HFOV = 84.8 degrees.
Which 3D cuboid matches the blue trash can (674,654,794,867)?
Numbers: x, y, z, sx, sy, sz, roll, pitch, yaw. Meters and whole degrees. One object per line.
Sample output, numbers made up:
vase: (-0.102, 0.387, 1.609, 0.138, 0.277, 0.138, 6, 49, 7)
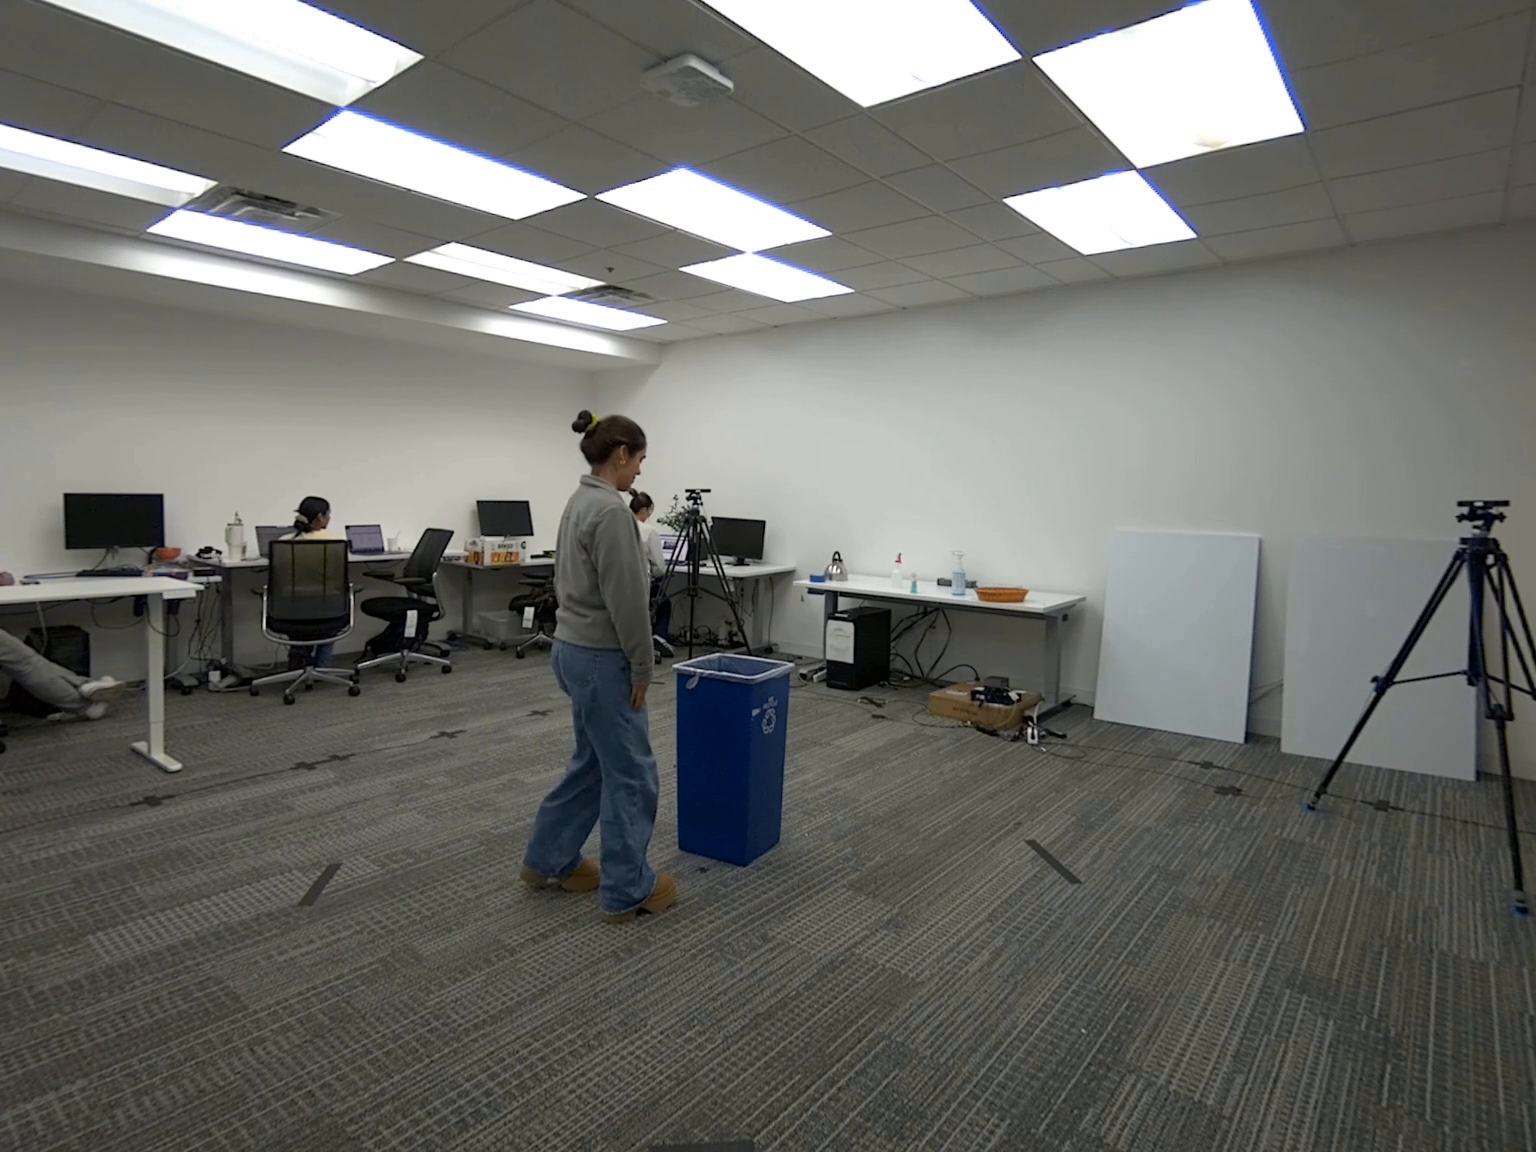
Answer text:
blue trash can: (-0.150, 0.695, 3.333, 0.389, 0.711, 0.364, 3, 4, 29)
